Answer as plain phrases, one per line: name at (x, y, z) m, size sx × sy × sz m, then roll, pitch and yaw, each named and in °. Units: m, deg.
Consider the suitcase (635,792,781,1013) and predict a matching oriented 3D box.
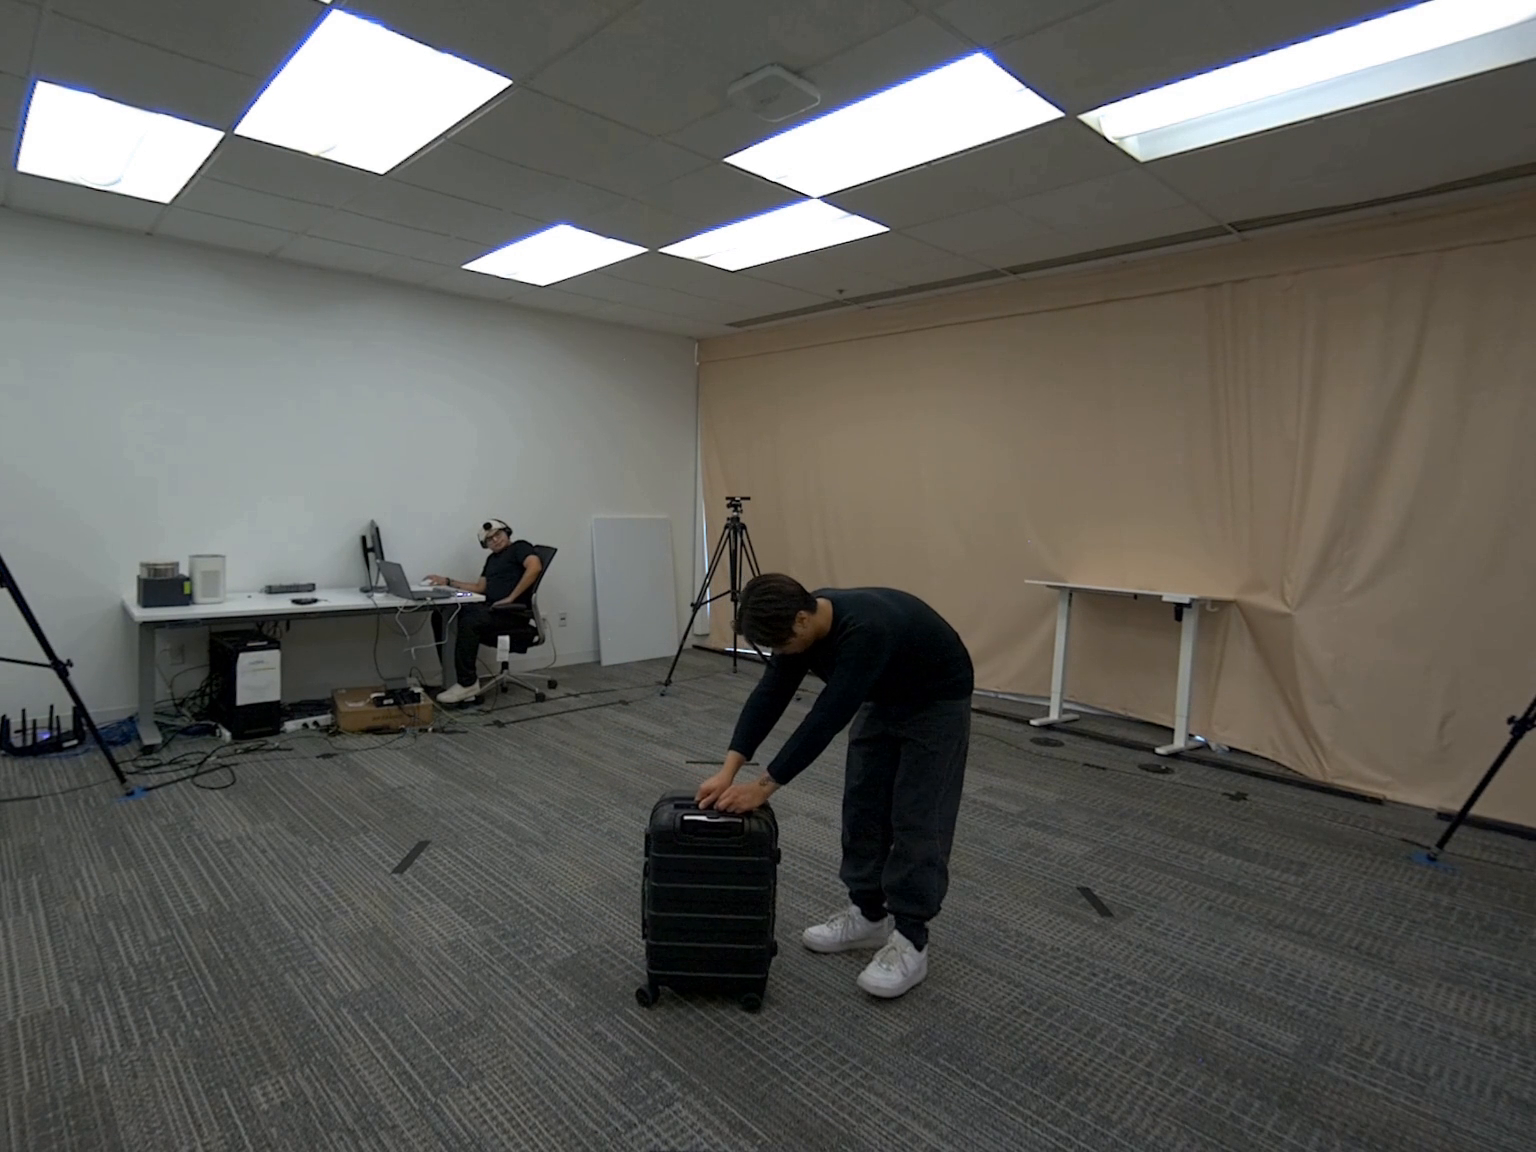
suitcase at (-0.169, 0.901, 2.377) m, size 0.375 × 0.548 × 0.249 m, roll 2°, pitch 3°, yaw -2°
